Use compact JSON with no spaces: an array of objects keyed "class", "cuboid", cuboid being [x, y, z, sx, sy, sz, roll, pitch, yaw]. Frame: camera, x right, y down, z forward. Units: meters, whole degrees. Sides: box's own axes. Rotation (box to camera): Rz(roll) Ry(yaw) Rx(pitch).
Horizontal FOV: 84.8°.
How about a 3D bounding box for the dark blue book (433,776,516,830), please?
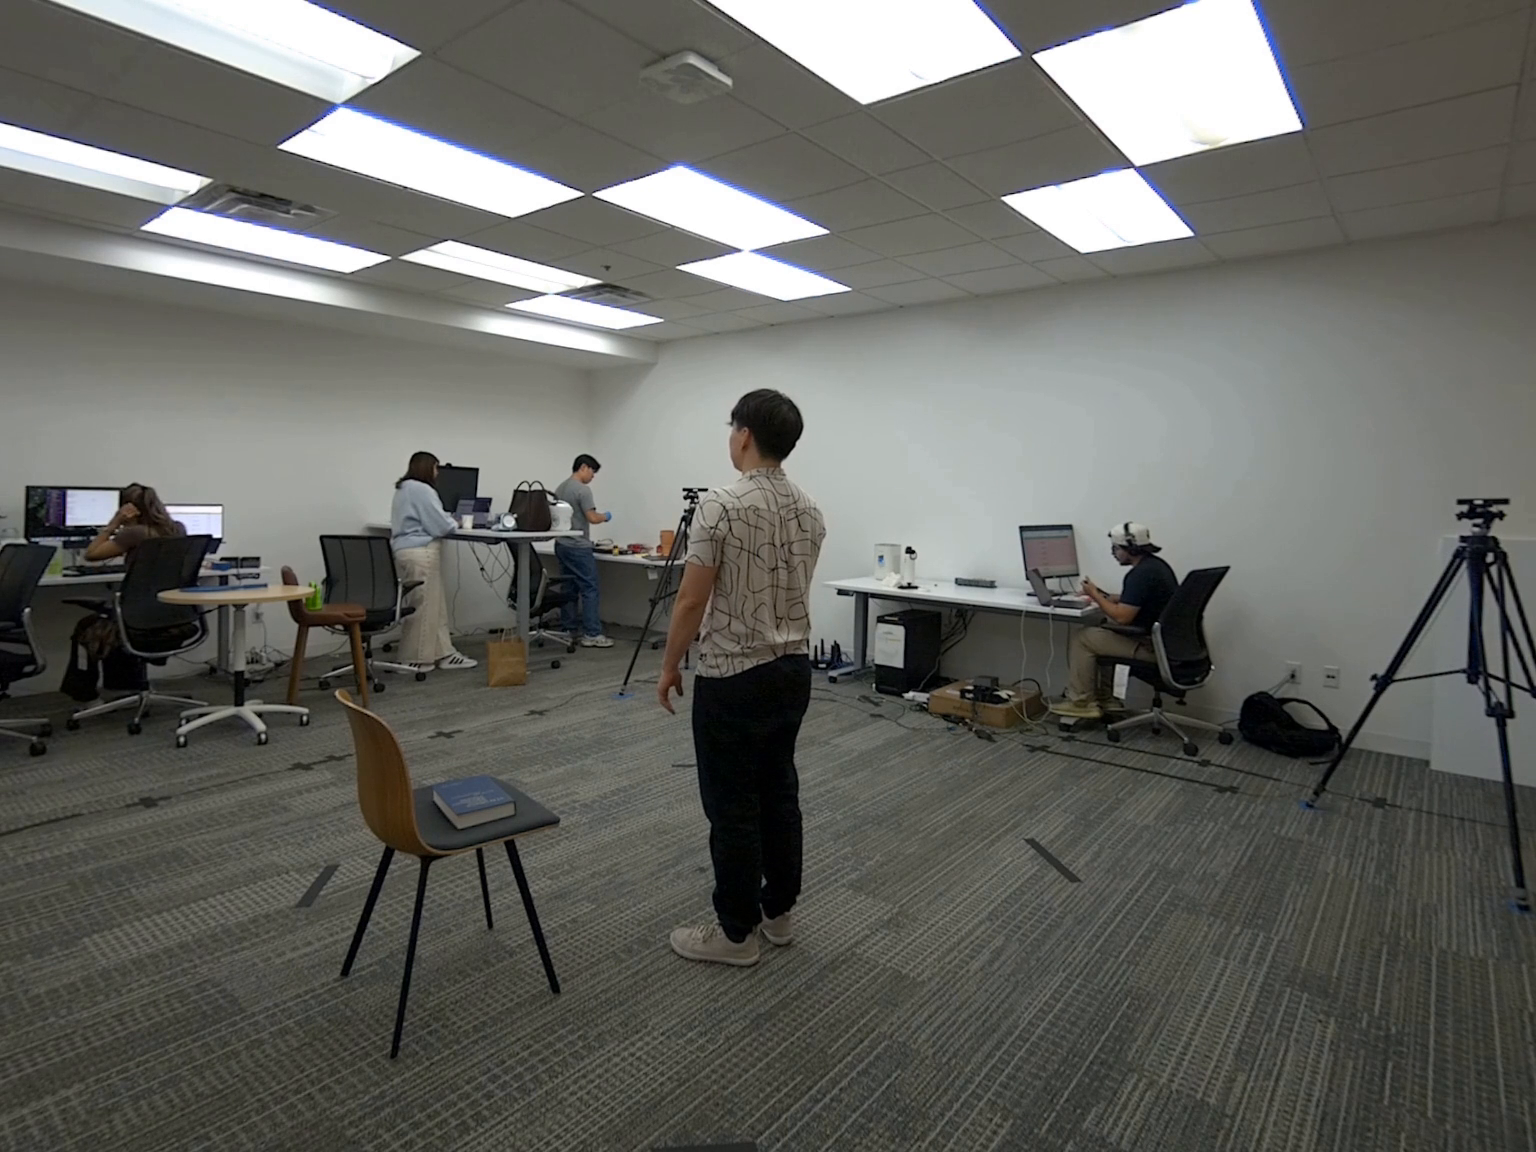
[{"class":"dark blue book","cuboid":[-0.841,0.628,2.387,0.159,0.045,0.253,-6,10,-35]}]
